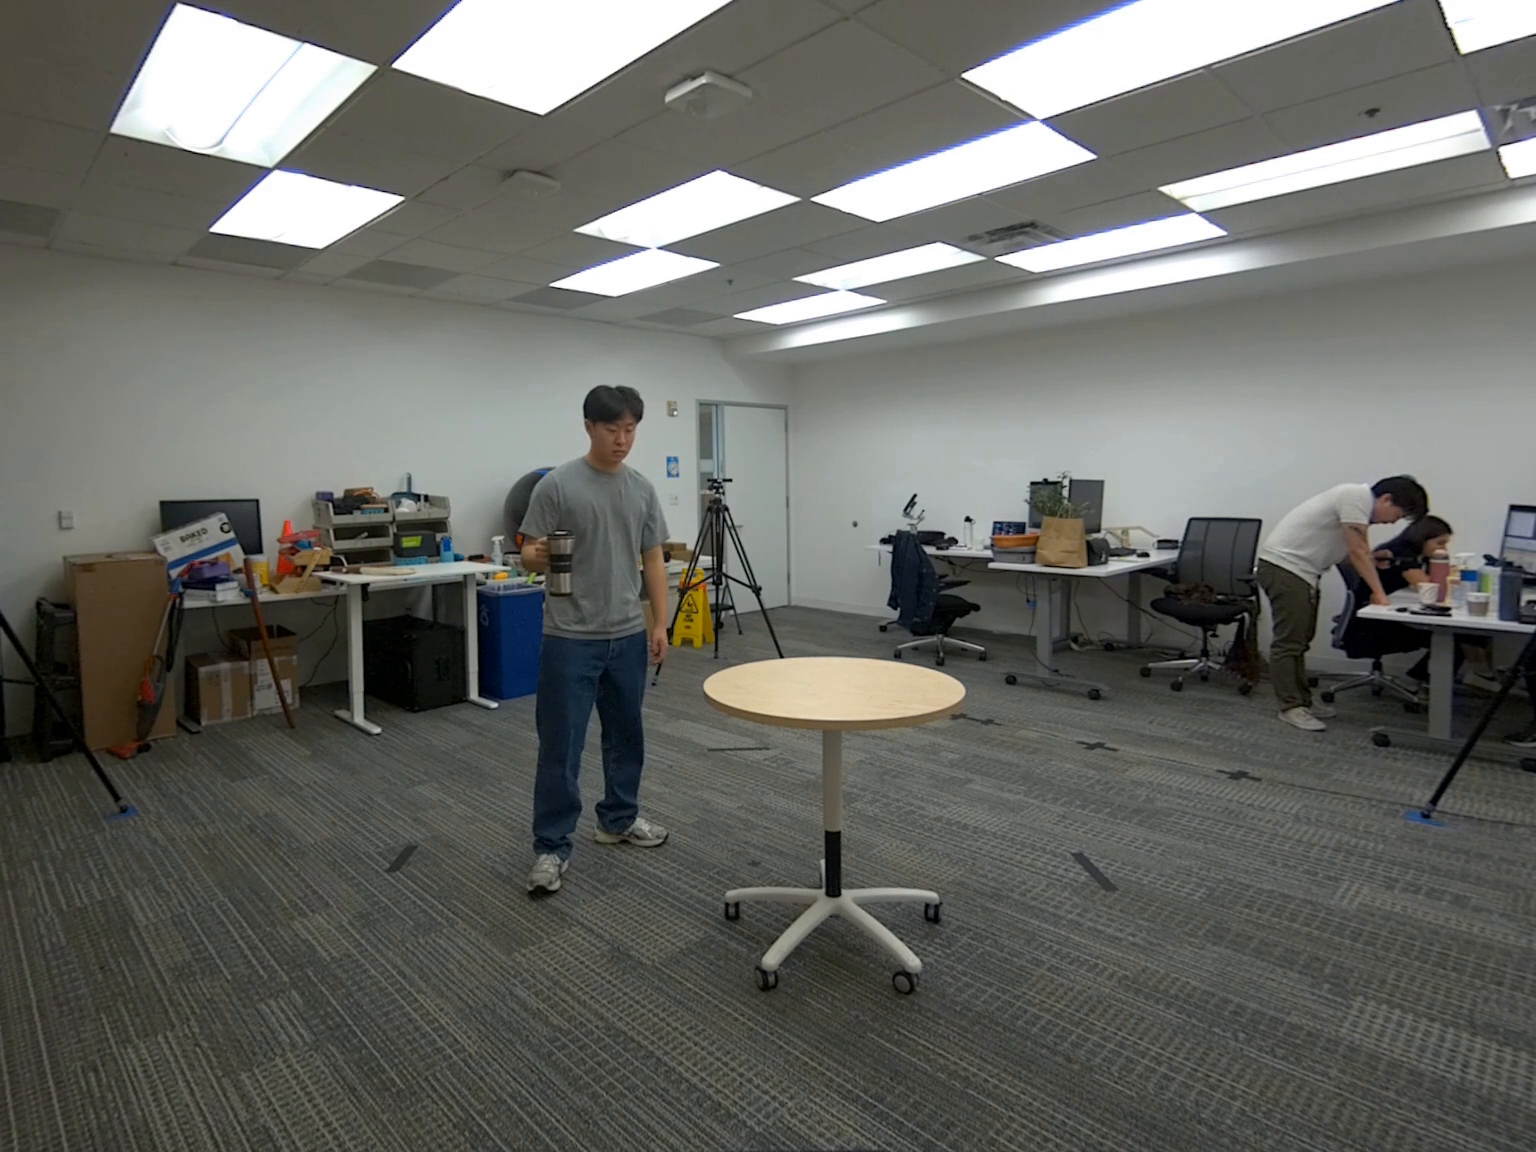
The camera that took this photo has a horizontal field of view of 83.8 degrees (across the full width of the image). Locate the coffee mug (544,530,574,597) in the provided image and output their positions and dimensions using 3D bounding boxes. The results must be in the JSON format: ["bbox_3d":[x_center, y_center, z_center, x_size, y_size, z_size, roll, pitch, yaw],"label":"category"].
[{"bbox_3d":[-0.665,-0.037,2.701,0.086,0.201,0.125,-2,8,-20],"label":"coffee mug"}]
